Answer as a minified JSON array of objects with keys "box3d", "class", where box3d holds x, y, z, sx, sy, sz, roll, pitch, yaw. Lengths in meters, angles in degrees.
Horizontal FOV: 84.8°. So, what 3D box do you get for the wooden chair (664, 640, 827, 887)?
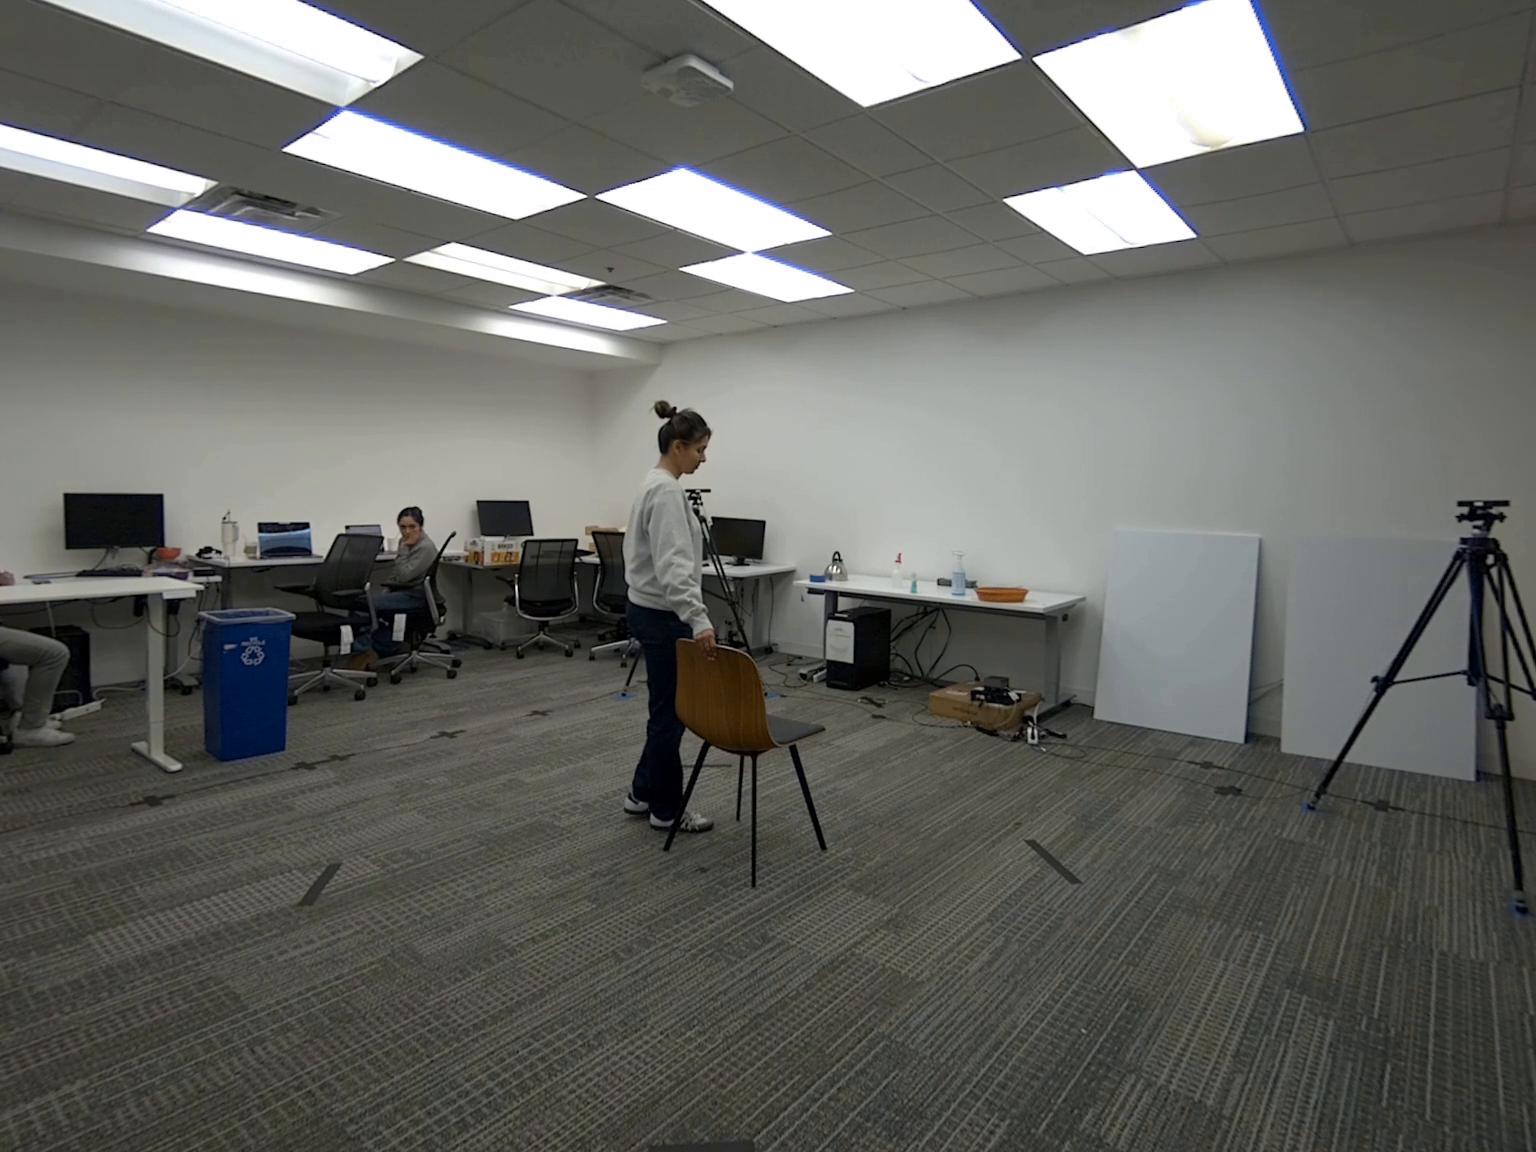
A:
[{"box3d":[-0.080,0.636,3.265,0.494,0.872,0.509,3,8,39],"class":"wooden chair"}]
